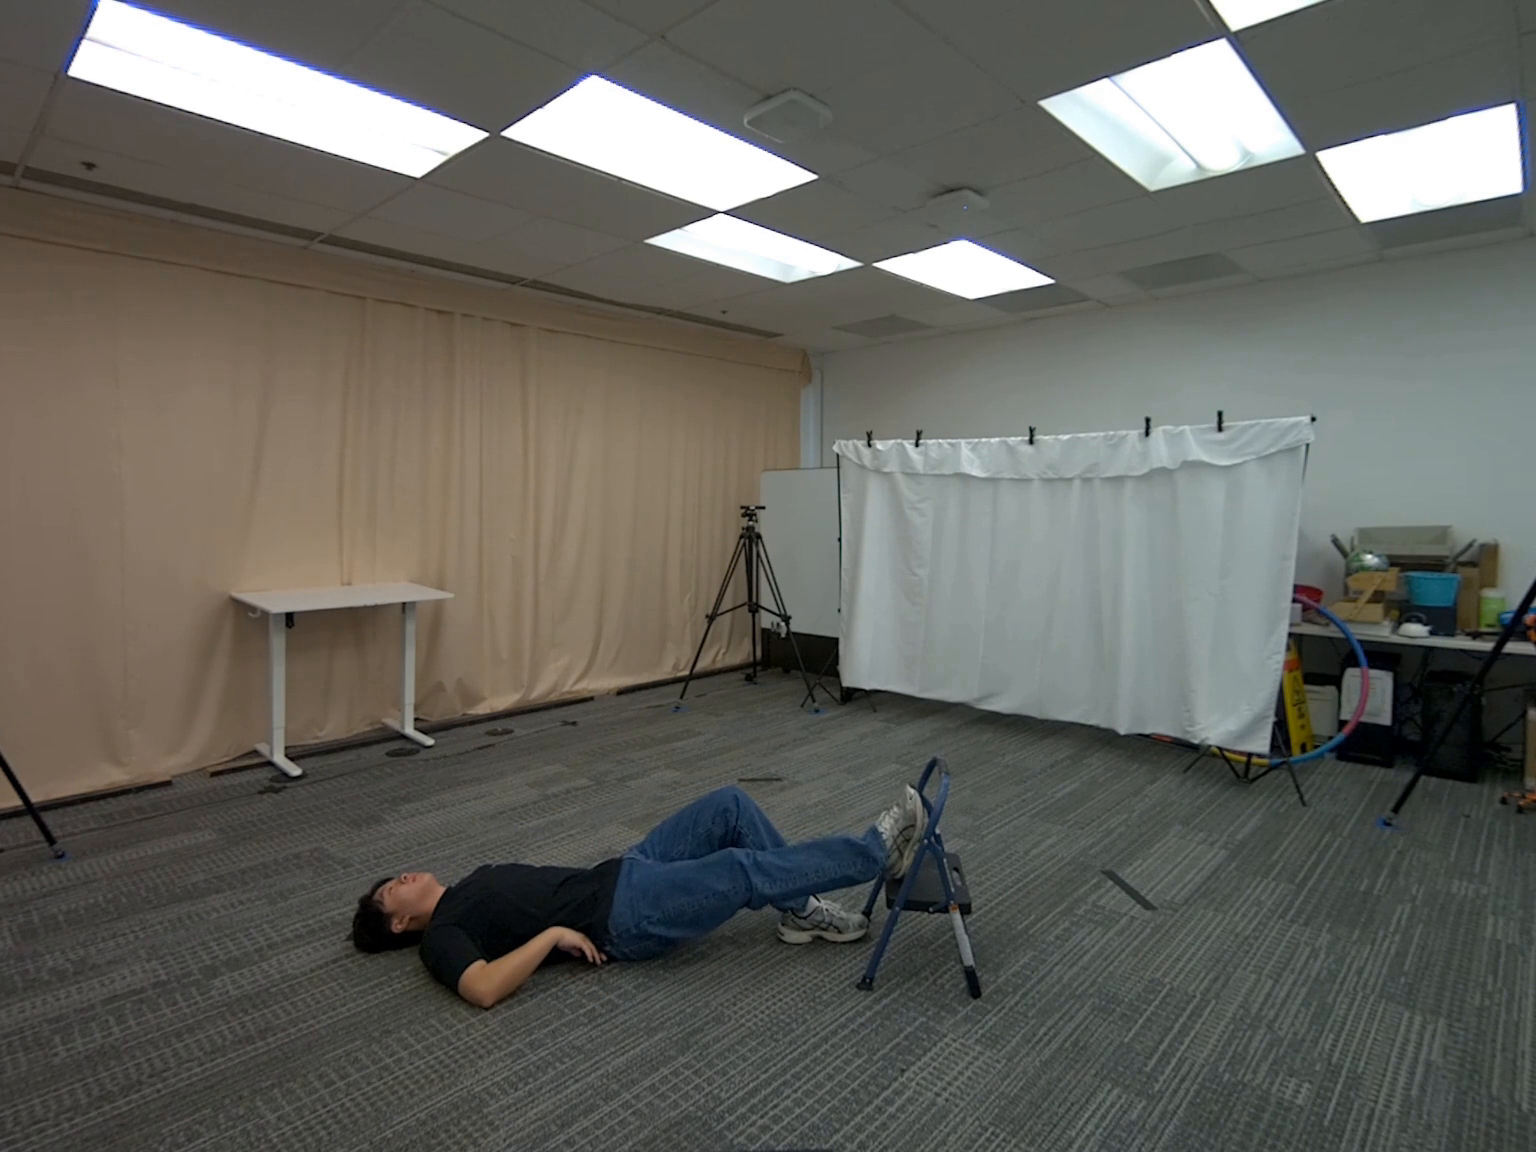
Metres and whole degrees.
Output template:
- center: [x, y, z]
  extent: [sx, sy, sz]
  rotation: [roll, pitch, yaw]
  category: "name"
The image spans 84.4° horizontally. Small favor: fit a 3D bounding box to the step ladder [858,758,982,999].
- center: [0.461, 0.876, 2.585]
  extent: [0.352, 0.604, 0.429]
  rotation: [0, 4, 6]
  category: "step ladder"
